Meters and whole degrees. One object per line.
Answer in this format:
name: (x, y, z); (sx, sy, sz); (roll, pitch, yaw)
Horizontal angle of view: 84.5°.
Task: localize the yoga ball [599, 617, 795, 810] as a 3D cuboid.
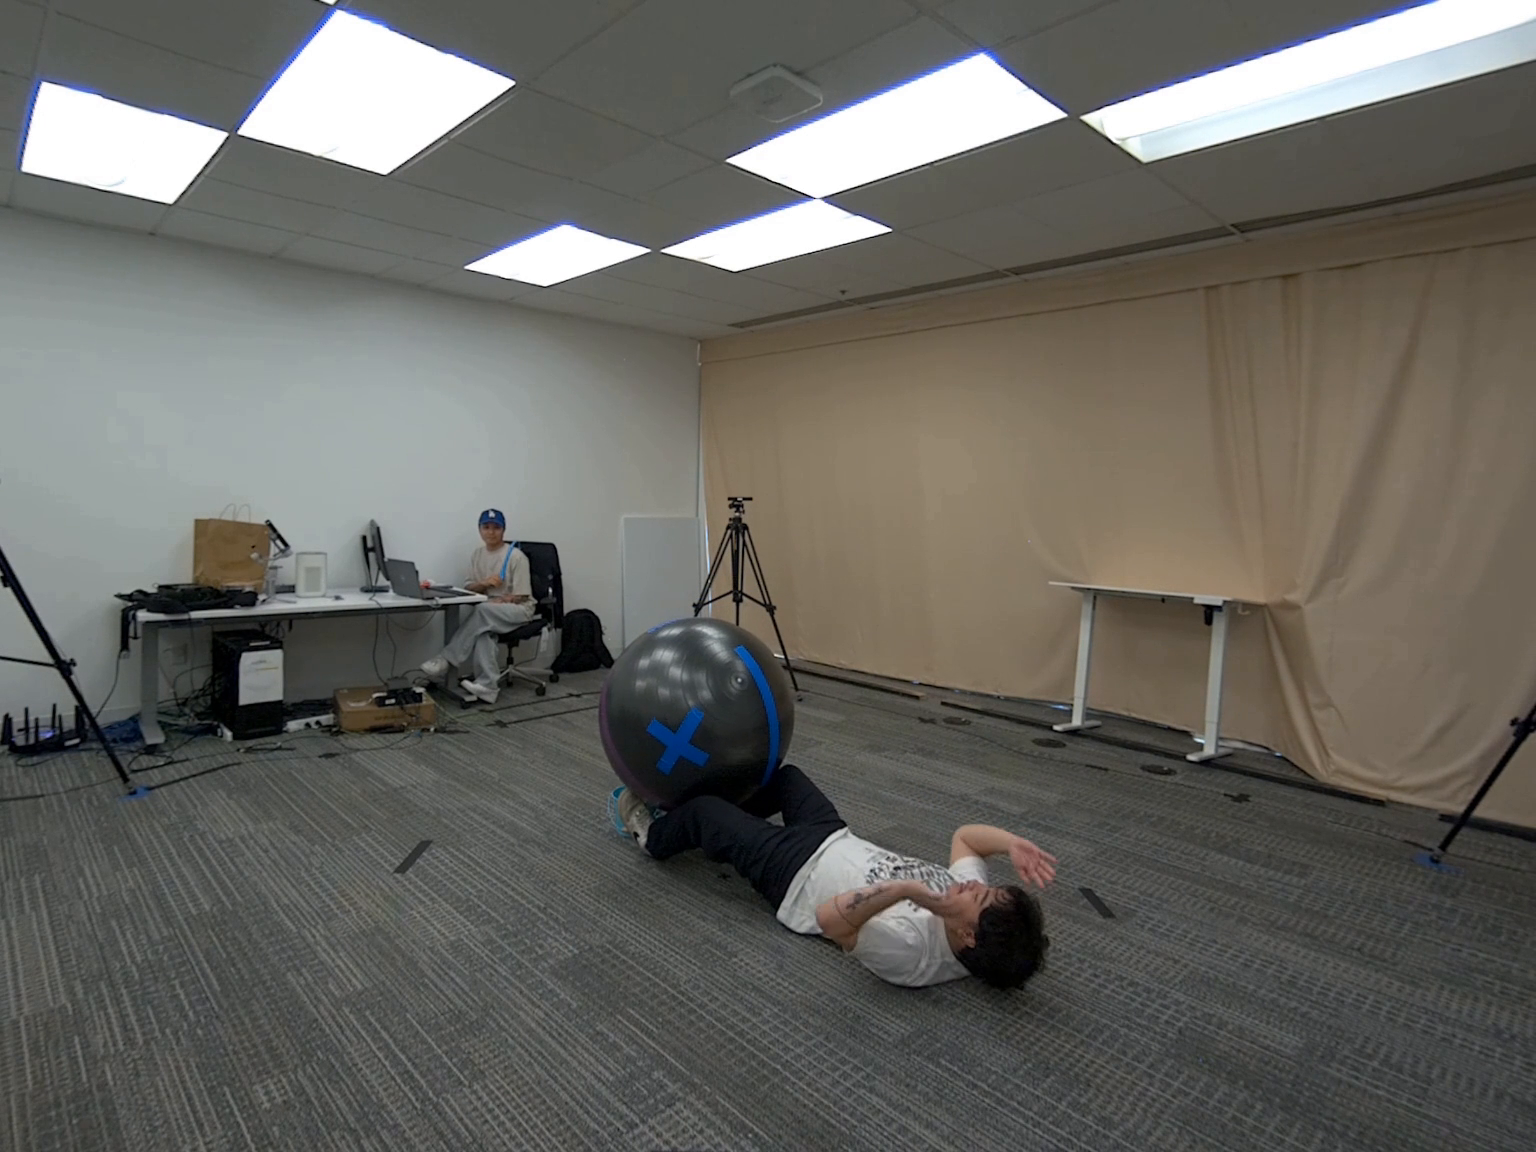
yoga ball: (-0.284, 0.538, 3.287); (0.757, 0.756, 0.760); (1, 4, -1)
